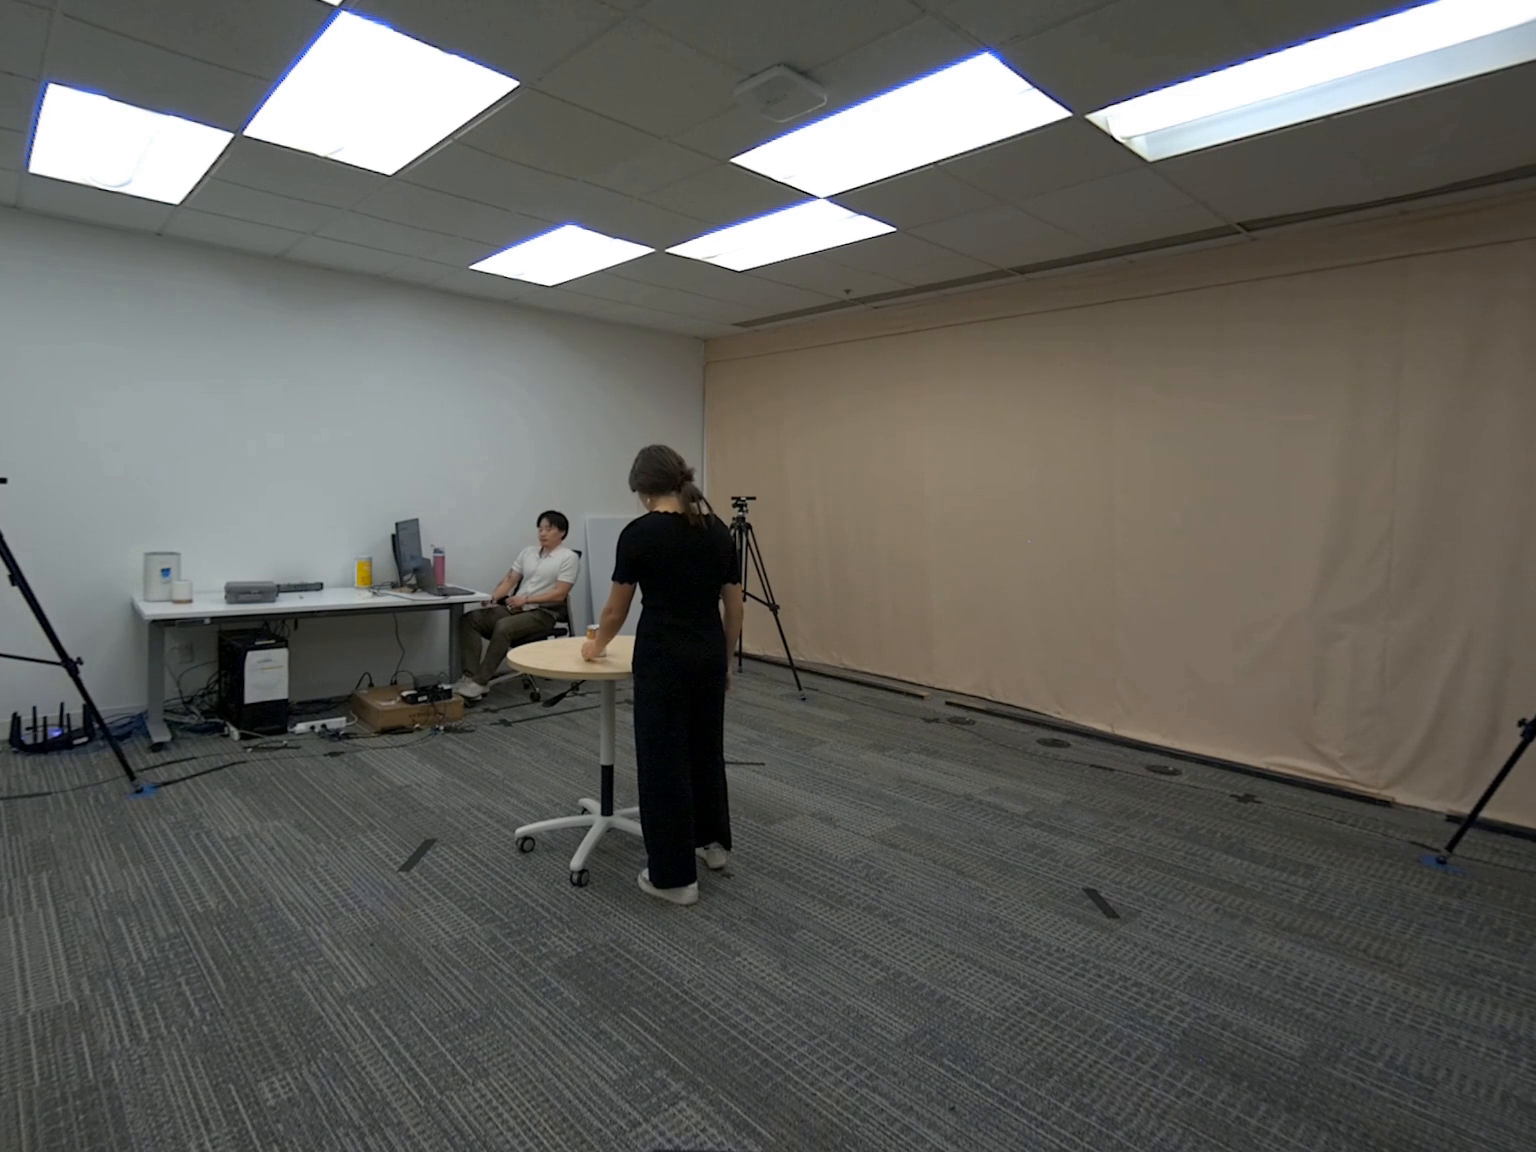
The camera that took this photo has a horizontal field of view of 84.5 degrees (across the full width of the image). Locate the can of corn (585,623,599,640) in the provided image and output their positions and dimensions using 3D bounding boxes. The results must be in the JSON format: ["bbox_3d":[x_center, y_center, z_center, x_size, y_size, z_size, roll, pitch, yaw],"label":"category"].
[{"bbox_3d":[-0.661,0.250,3.182,0.074,0.111,0.074,1,4,-1],"label":"can of corn"}]
